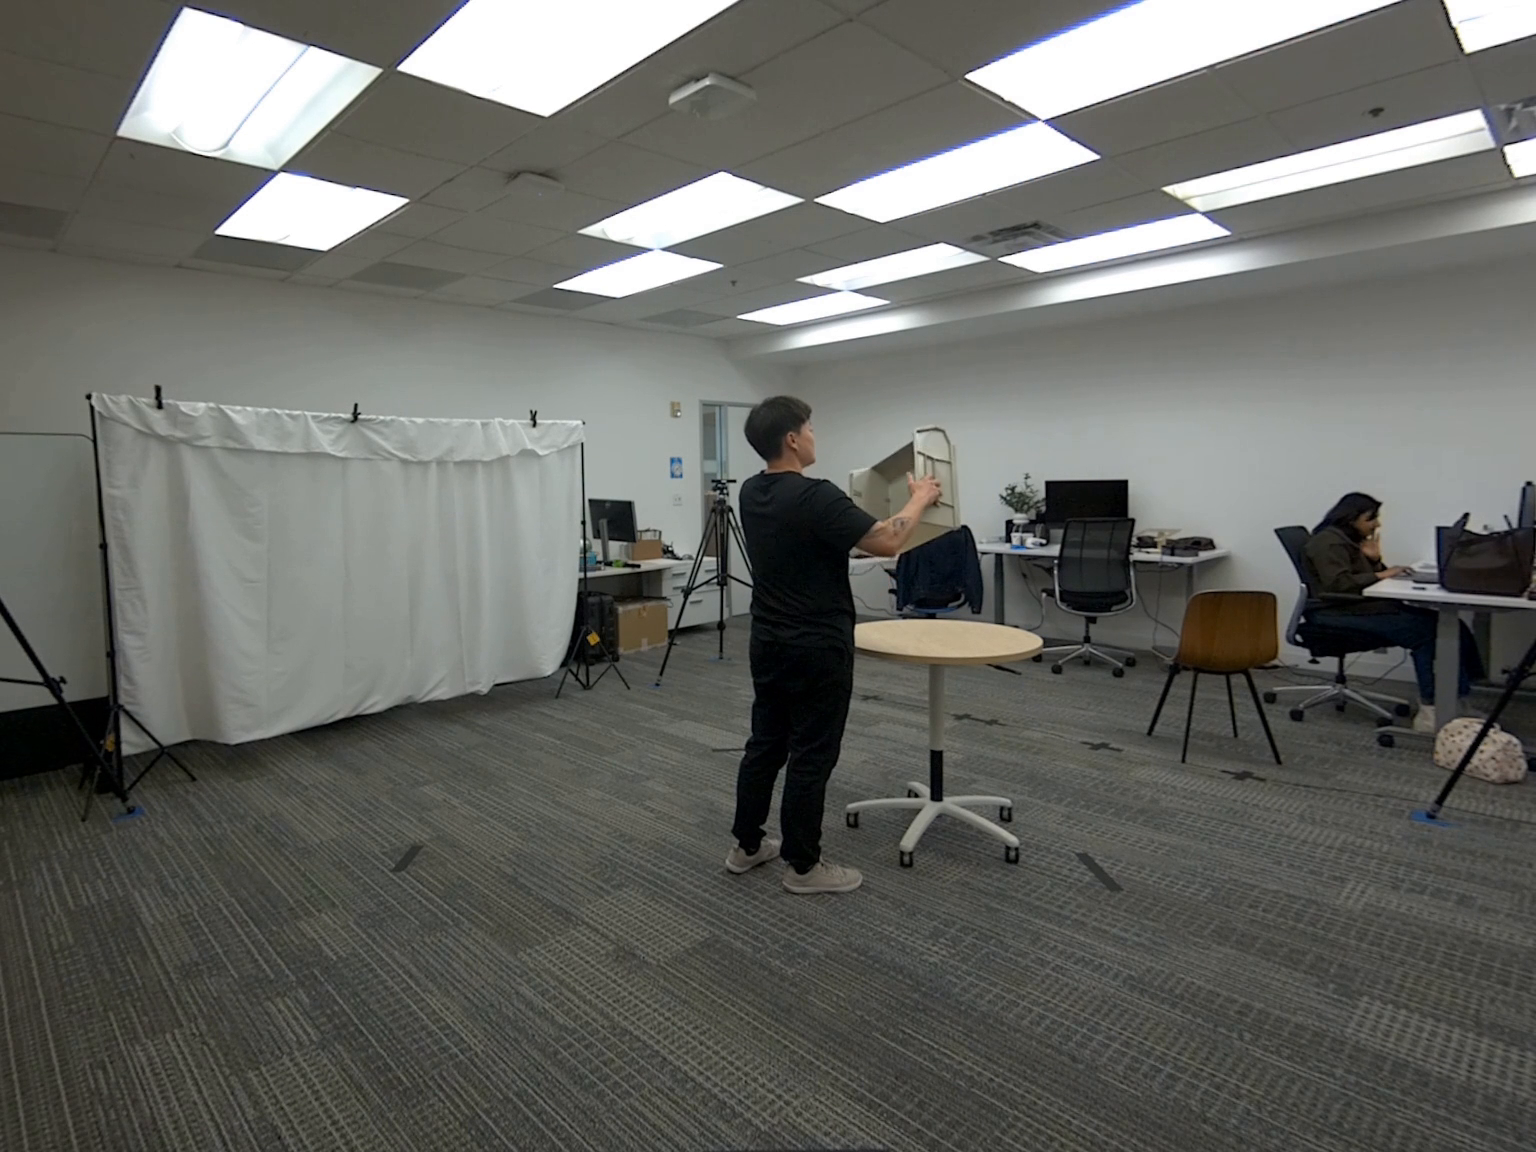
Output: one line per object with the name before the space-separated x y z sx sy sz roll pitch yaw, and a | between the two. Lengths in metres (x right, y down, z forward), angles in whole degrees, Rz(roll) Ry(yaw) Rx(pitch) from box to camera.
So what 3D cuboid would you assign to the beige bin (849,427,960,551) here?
beige bin | 0.484 -0.293 3.091 0.184 0.384 0.426 9 -20 -26
